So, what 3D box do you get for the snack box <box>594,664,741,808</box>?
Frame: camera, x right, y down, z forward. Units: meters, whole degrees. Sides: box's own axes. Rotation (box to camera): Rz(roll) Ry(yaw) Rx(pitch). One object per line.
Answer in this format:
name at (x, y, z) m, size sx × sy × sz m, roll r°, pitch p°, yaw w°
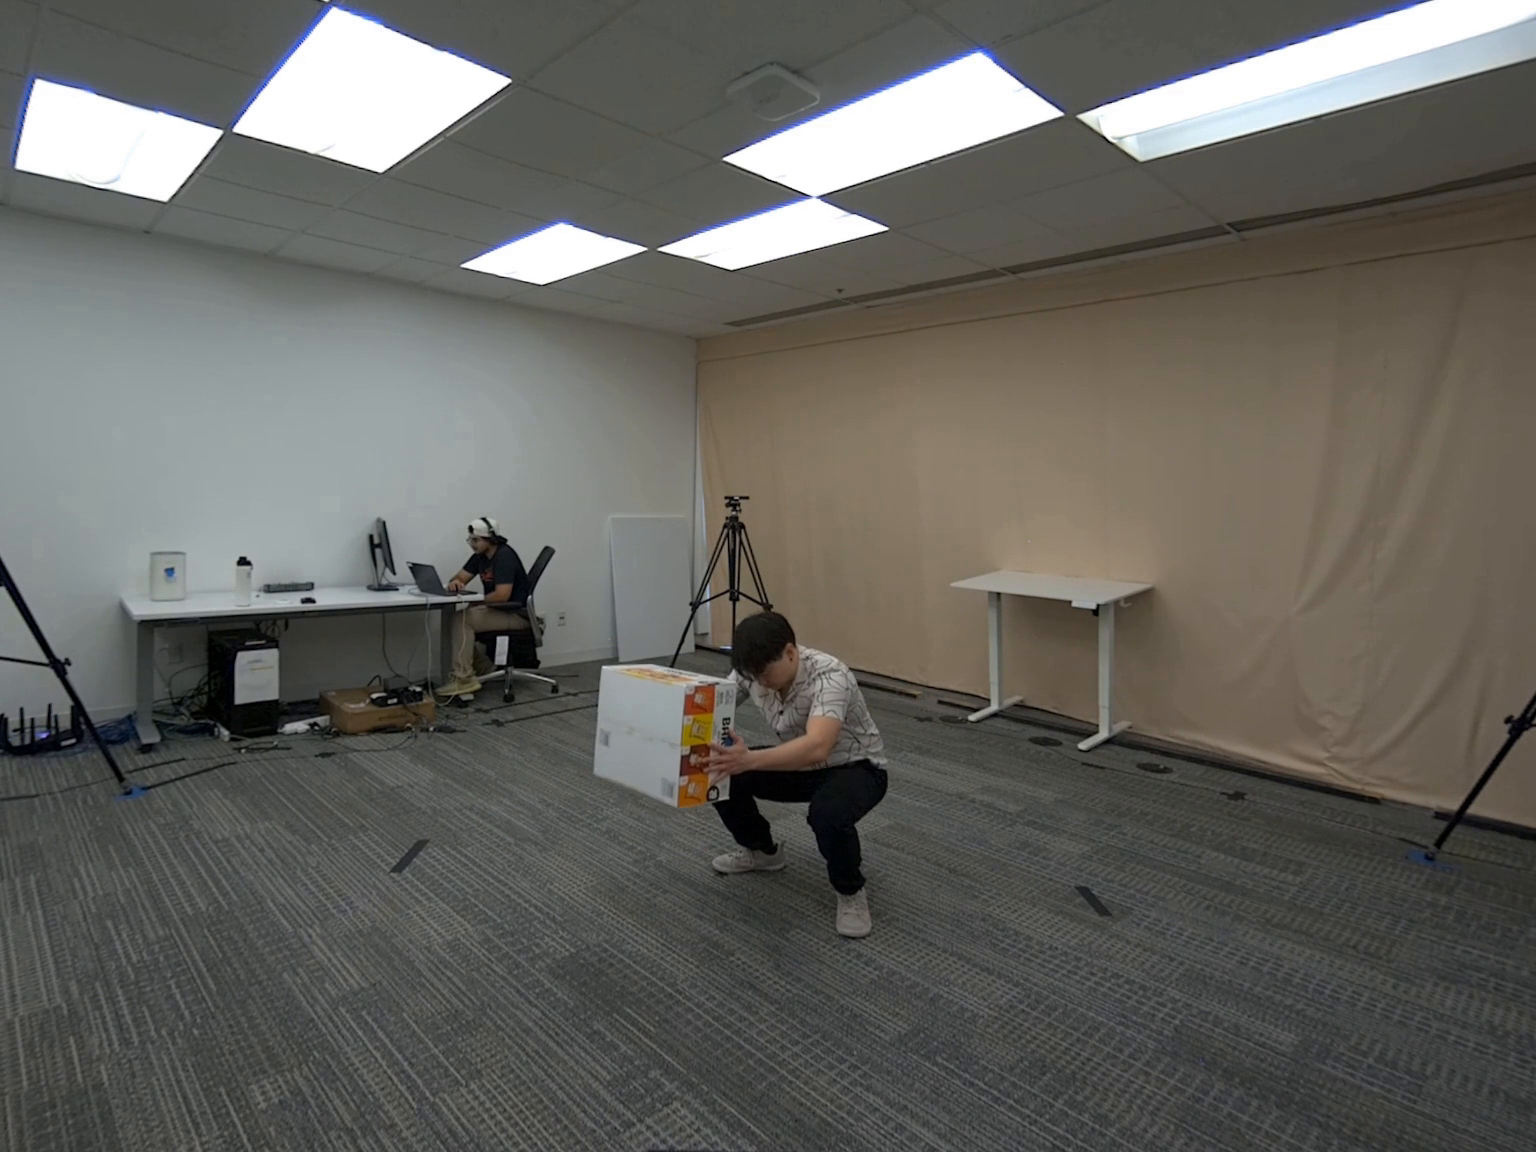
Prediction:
snack box at (-0.321, 0.463, 2.528) m, size 0.415 × 0.341 × 0.200 m, roll 3°, pitch -2°, yaw 44°
